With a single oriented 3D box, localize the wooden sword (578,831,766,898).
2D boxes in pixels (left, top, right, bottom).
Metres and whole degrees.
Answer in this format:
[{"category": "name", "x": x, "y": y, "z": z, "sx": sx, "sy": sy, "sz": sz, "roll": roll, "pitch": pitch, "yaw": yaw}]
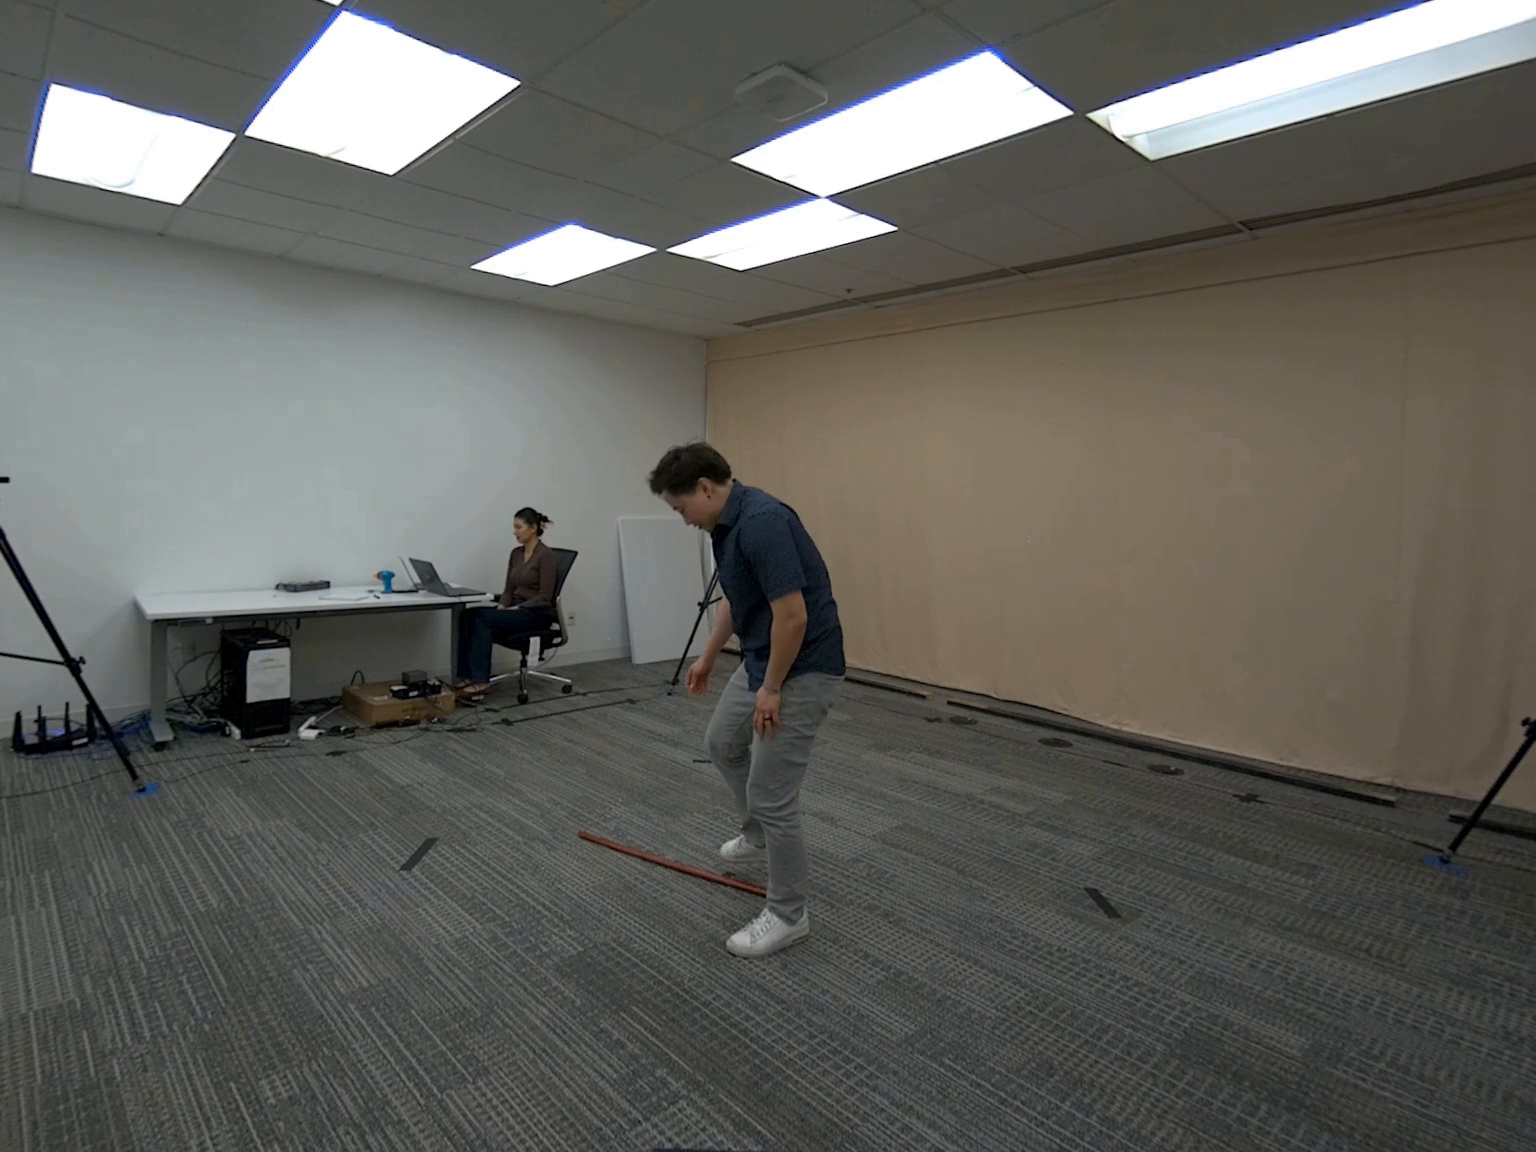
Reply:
[{"category": "wooden sword", "x": -0.322, "y": 1.065, "z": 3.143, "sx": 1.048, "sy": 0.024, "sz": 0.051, "roll": 4, "pitch": 24, "yaw": 32}]
